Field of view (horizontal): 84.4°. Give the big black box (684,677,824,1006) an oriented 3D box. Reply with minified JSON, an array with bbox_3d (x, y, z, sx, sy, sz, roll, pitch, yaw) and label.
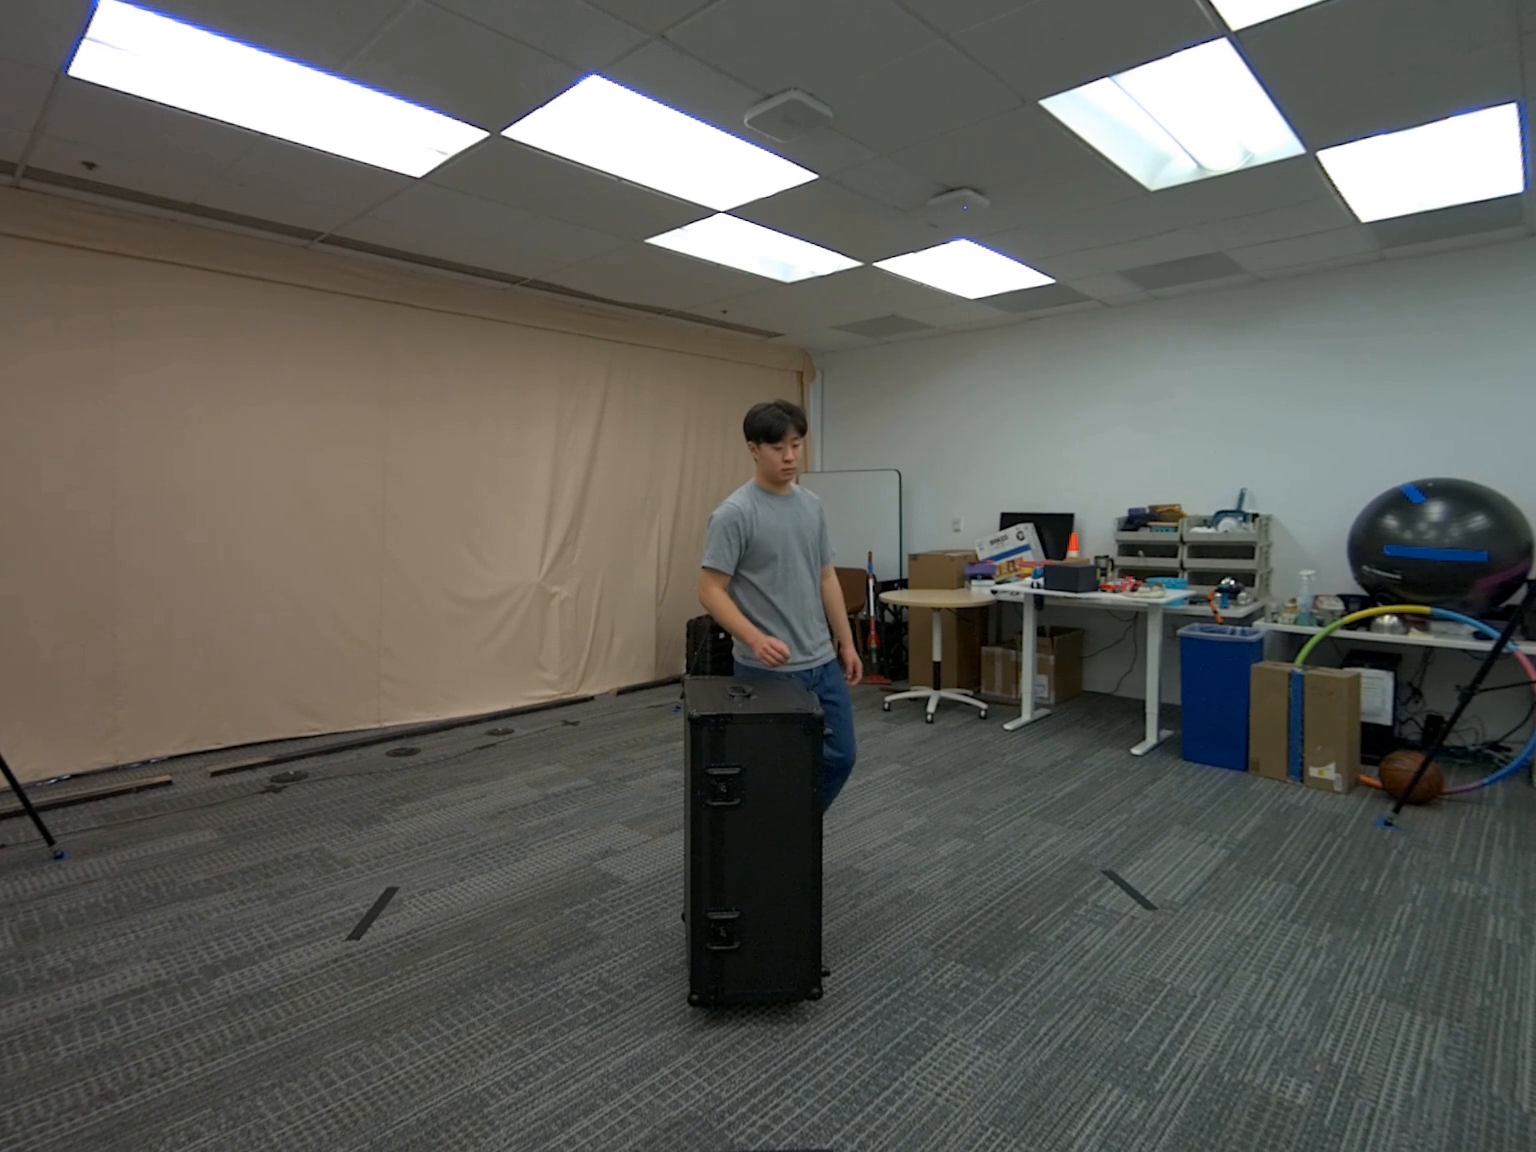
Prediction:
[{"bbox_3d":[-0.051,0.765,2.460,0.394,0.860,0.525,0,3,-6],"label":"big black box"}]
